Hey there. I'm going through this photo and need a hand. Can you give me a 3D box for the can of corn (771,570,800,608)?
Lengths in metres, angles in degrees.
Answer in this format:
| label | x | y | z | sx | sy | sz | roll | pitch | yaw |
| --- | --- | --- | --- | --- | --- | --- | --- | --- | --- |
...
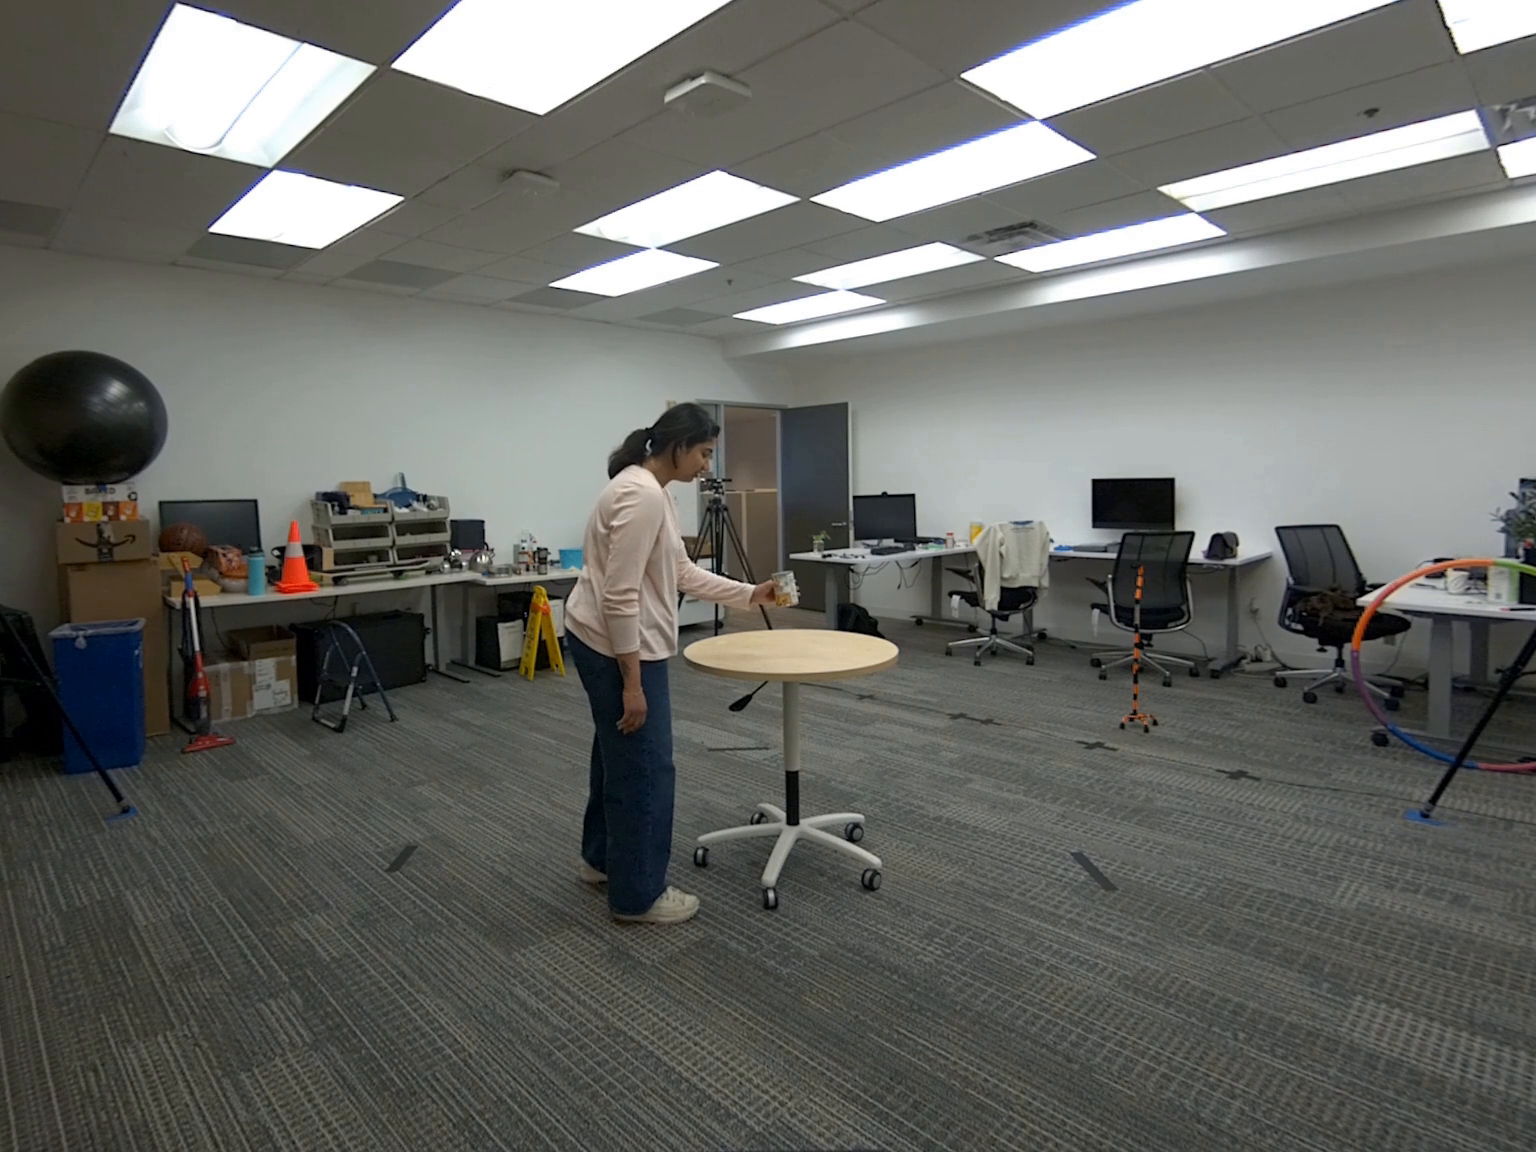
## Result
| label | x | y | z | sx | sy | sz | roll | pitch | yaw |
| --- | --- | --- | --- | --- | --- | --- | --- | --- | --- |
| can of corn | 0.050 | 0.047 | 2.900 | 0.074 | 0.111 | 0.074 | -9 | 2 | -1 |
